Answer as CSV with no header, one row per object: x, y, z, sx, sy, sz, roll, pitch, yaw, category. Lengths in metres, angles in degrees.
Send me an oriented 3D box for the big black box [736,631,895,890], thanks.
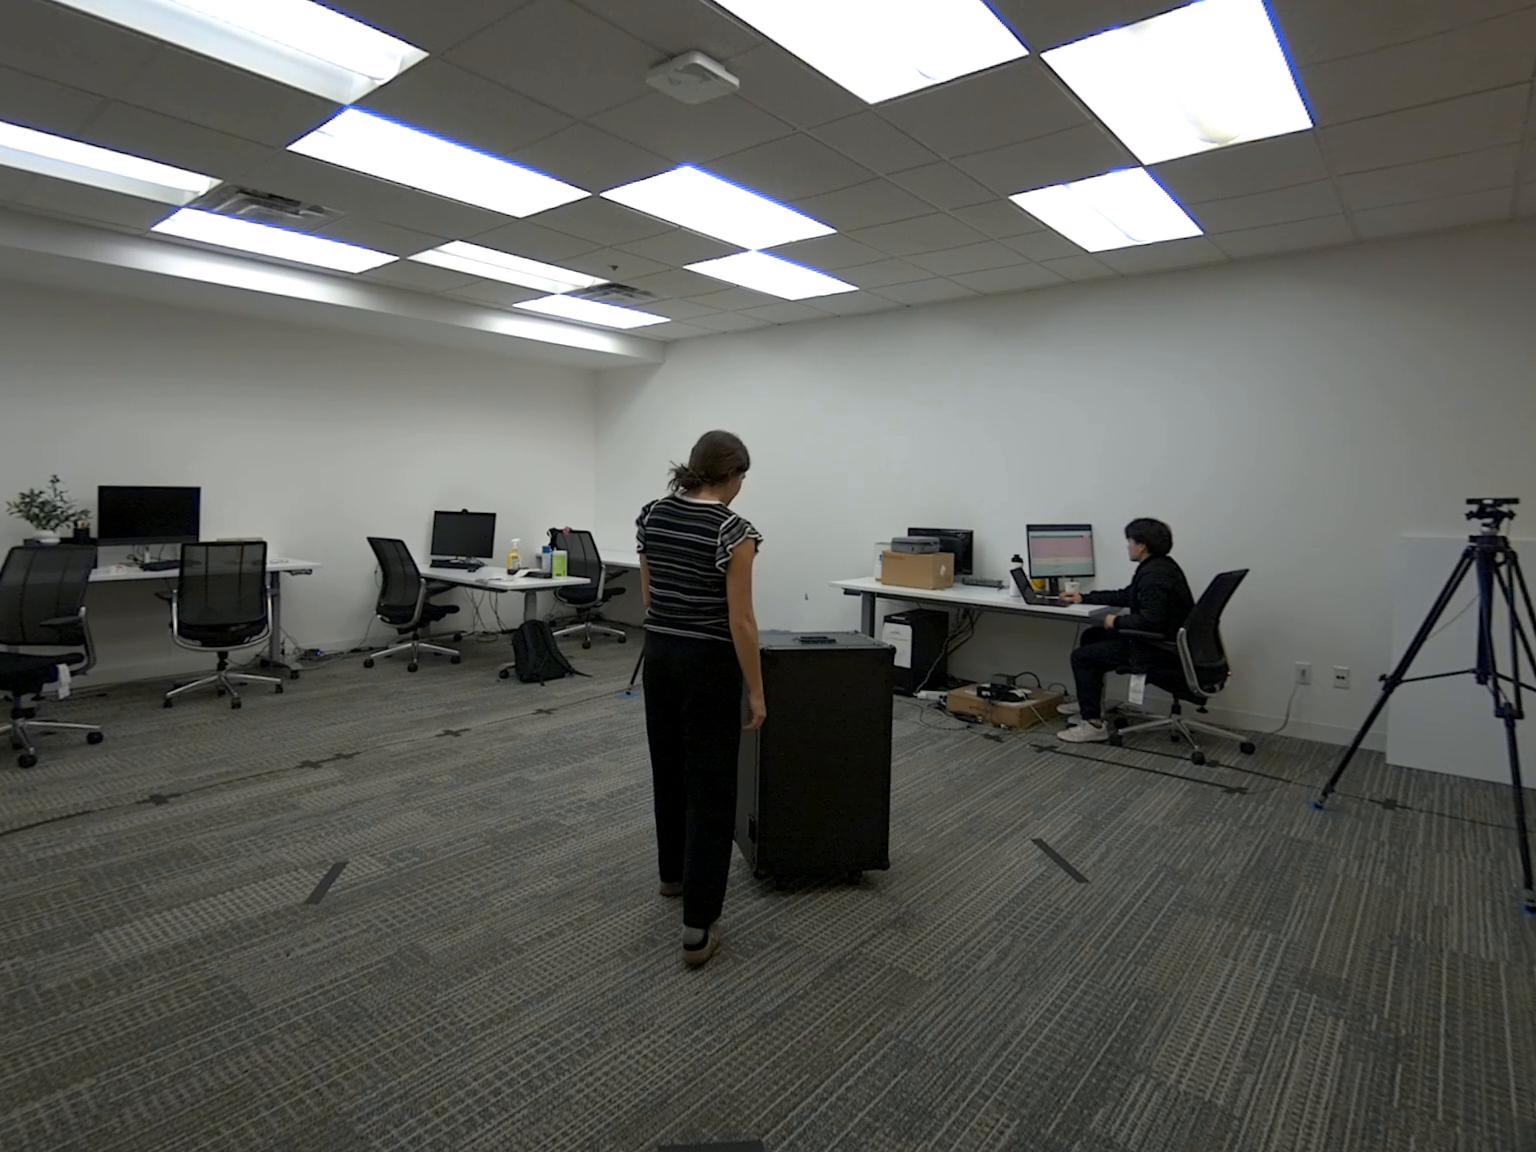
0.133,0.647,3.089,0.515,0.860,0.402,0,2,-12,big black box
